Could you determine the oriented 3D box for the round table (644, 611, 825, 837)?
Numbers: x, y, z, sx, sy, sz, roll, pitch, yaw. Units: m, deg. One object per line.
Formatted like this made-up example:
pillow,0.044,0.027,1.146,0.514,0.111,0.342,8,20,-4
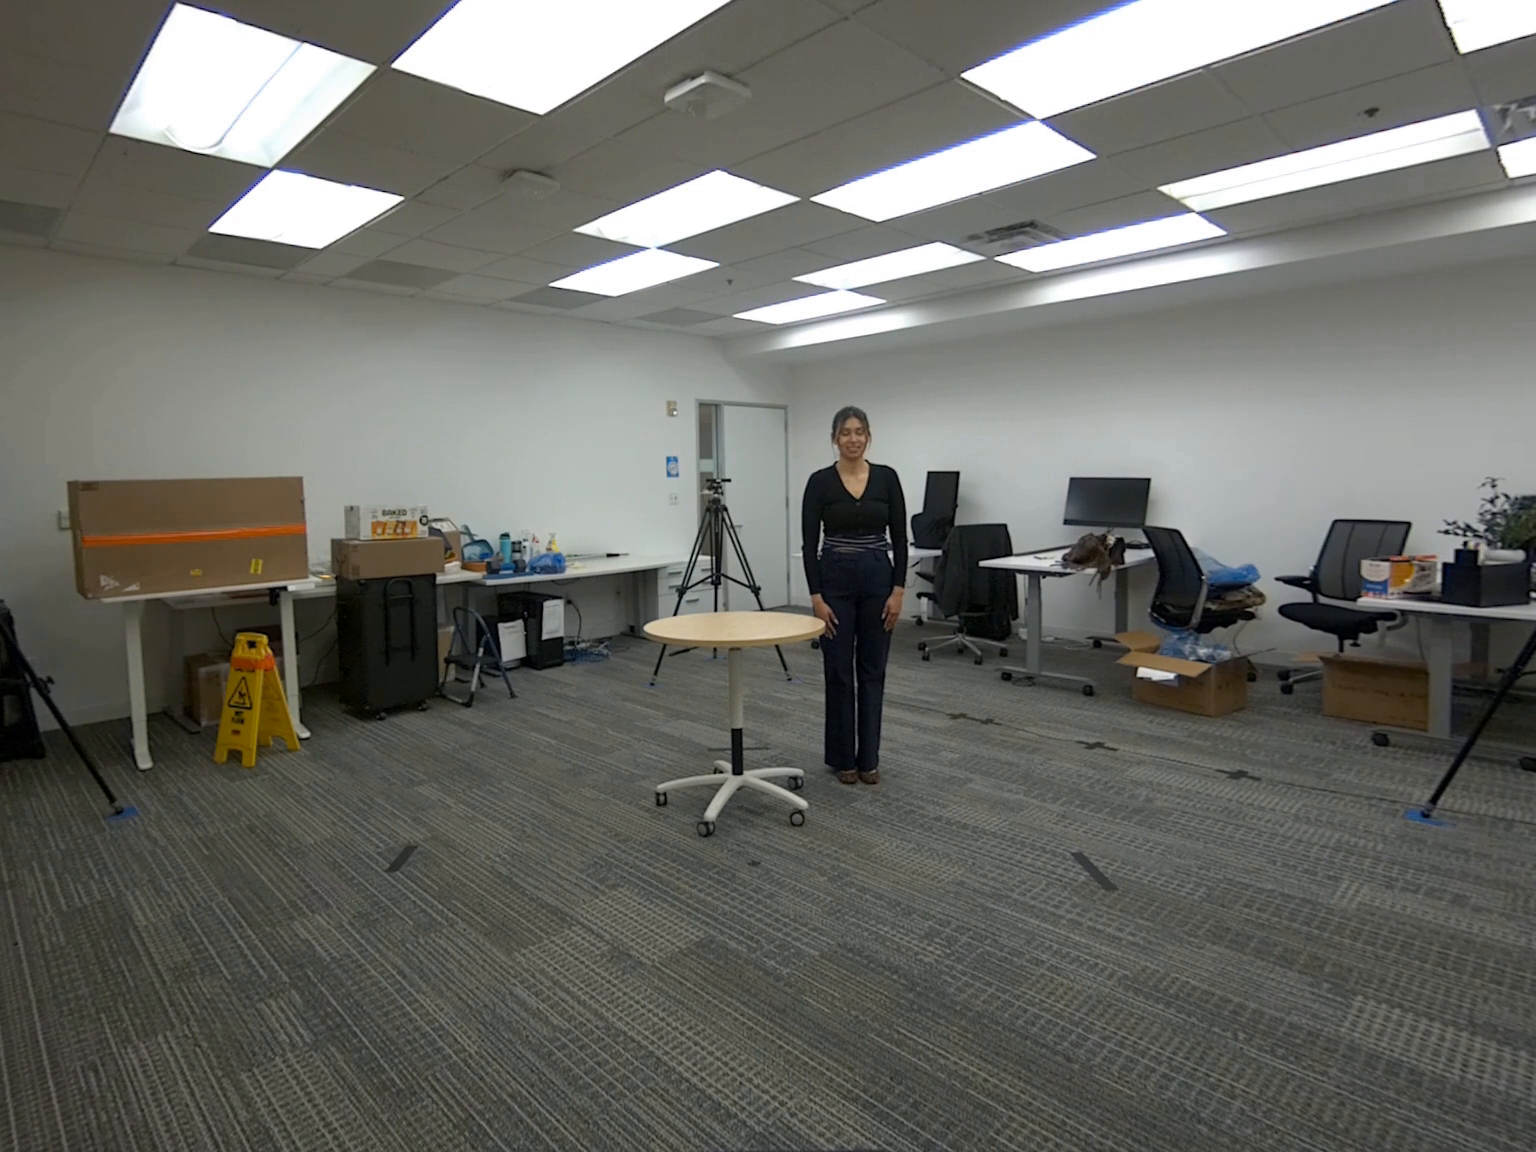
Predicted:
round table,-0.130,0.598,3.630,0.763,0.791,0.767,-1,4,-2
